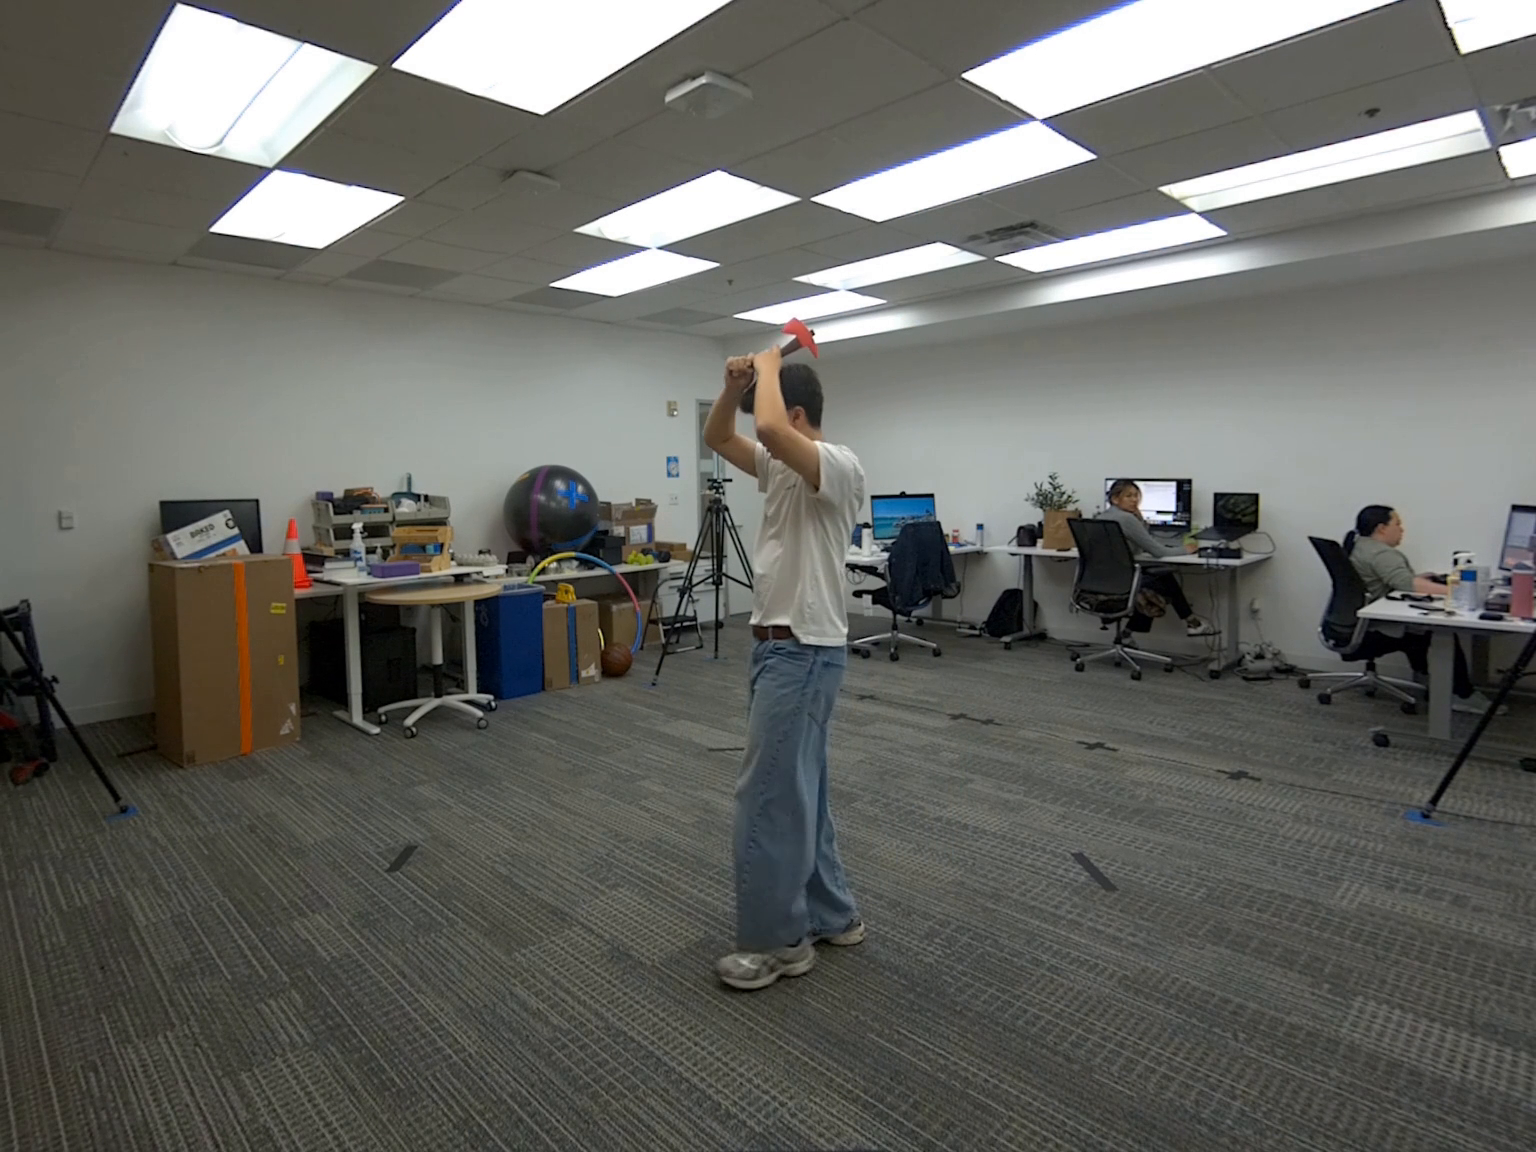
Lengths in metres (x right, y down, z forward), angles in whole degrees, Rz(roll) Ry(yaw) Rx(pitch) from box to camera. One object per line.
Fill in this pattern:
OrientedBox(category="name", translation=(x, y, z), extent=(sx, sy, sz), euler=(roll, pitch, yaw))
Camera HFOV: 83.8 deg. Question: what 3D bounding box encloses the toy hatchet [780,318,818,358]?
OrientedBox(category="toy hatchet", translation=(0.002, -0.671, 2.478), extent=(0.269, 0.130, 0.030), euler=(-14, 5, -3))
